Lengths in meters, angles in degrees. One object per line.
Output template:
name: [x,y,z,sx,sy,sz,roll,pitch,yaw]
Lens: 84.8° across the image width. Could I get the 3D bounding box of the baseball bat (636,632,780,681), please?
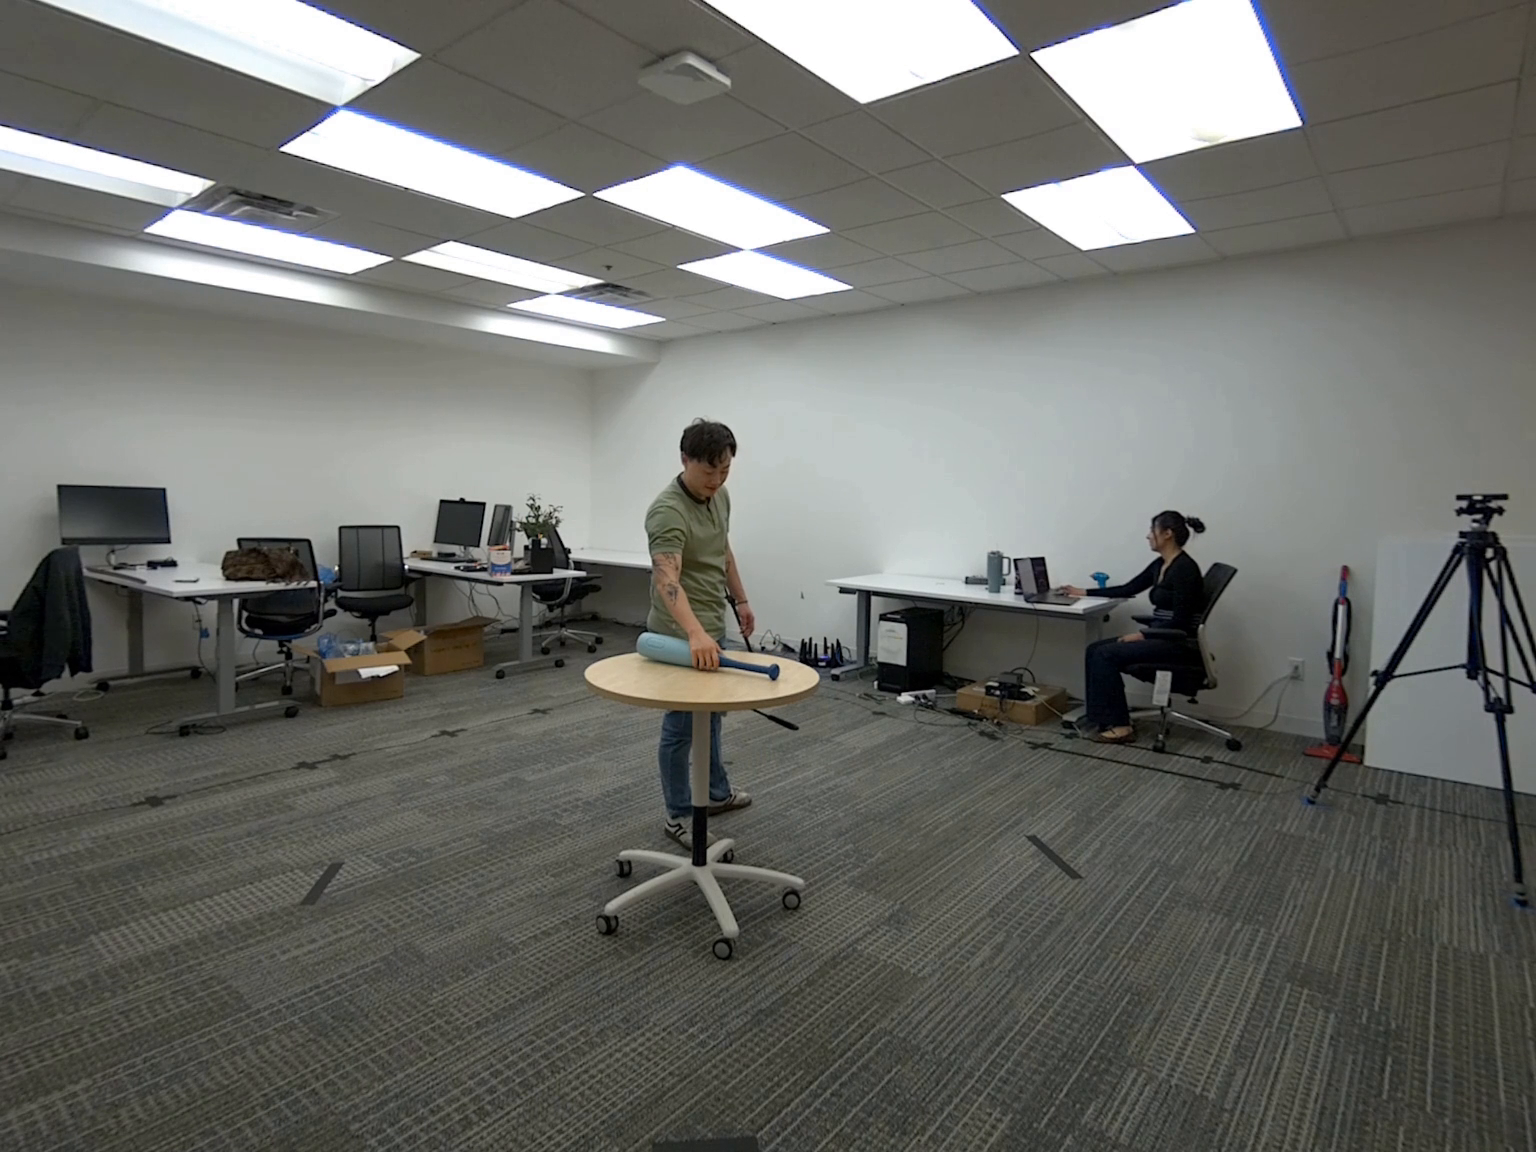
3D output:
baseball bat: [-0.215,0.272,2.846,0.560,0.088,0.087,9,8,30]
